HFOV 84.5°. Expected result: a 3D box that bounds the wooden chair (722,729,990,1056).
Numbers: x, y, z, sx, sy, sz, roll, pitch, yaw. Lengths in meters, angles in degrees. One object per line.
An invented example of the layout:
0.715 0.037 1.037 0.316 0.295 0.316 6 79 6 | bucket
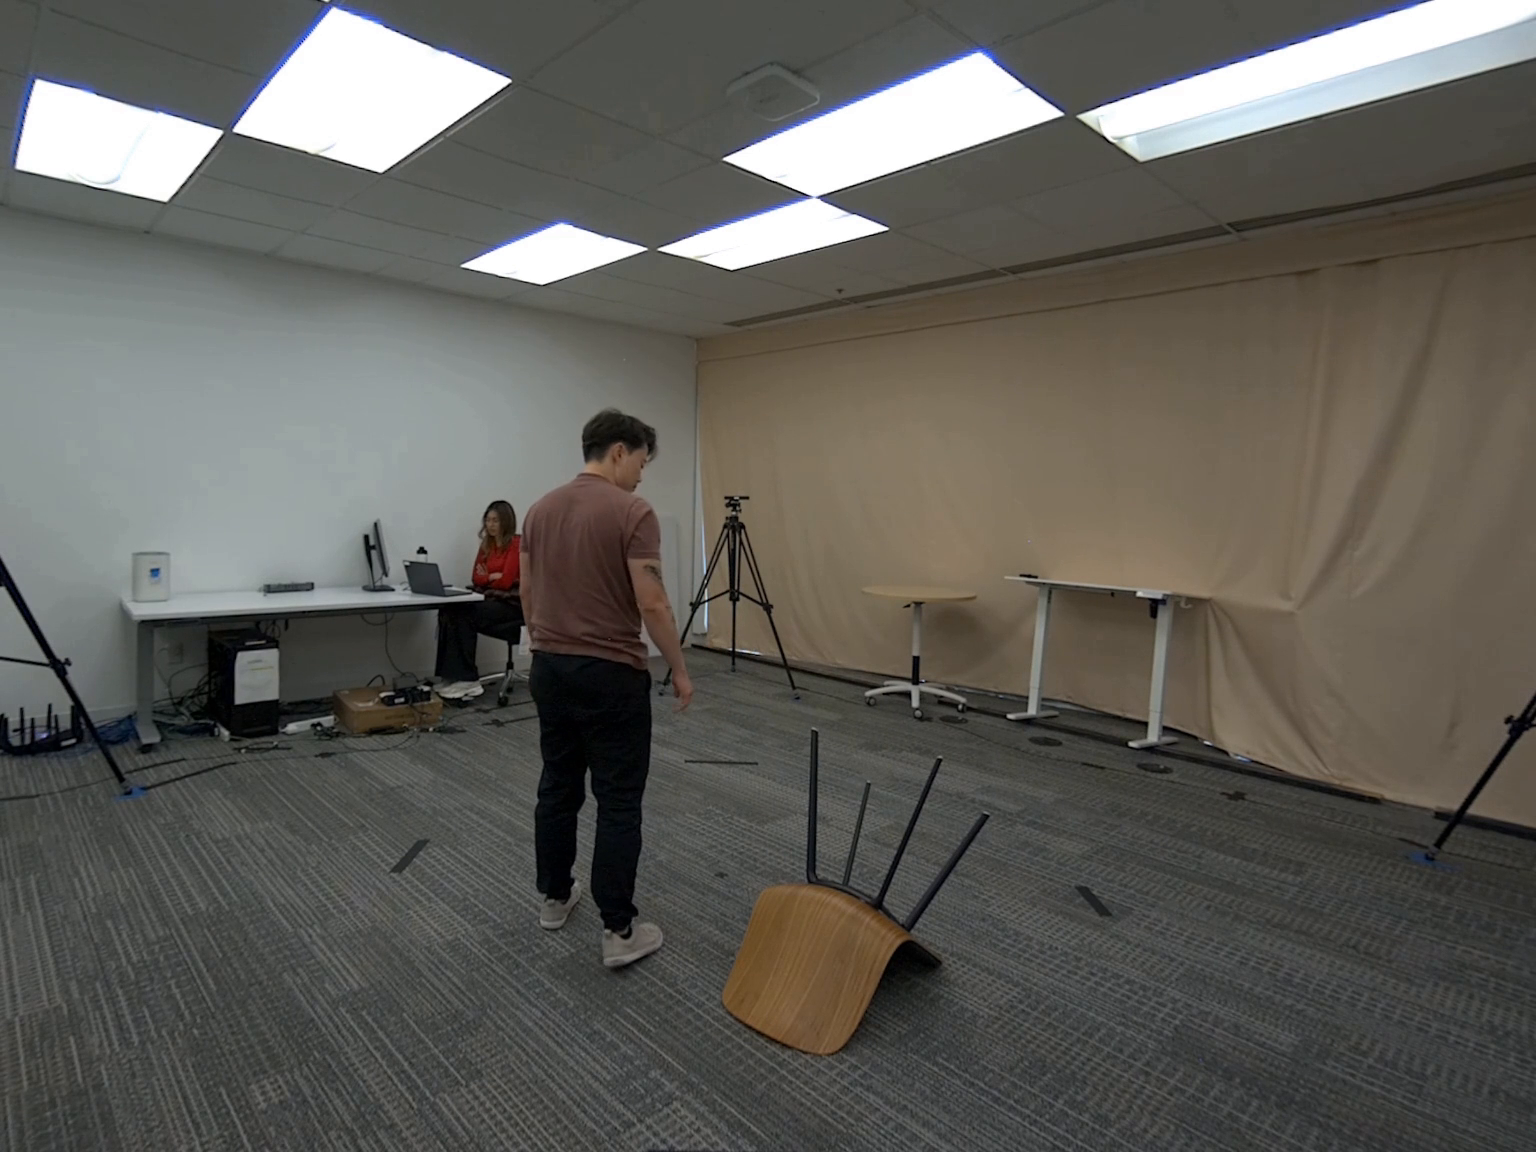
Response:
0.267 0.995 2.538 0.490 0.883 0.507 5 -35 37 | wooden chair
